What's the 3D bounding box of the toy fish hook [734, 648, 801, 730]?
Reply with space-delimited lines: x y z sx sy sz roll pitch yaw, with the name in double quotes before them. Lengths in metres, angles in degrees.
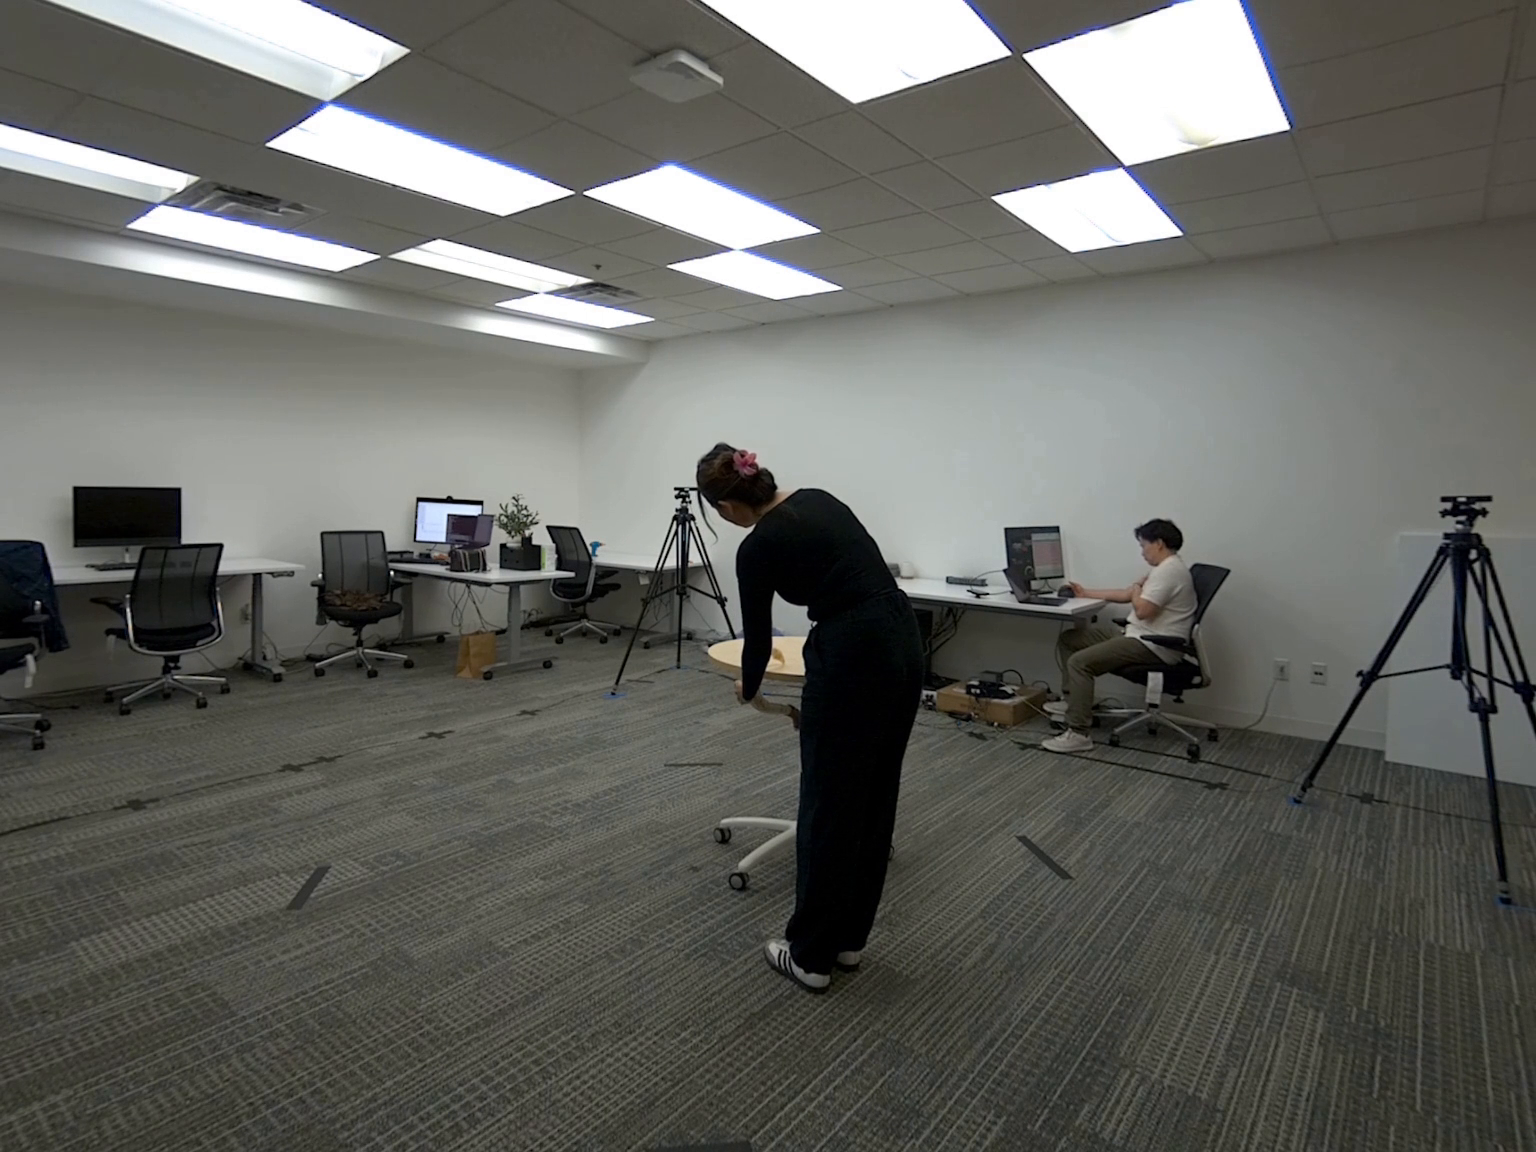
"toy fish hook" 0.052 0.402 2.946 0.050 0.227 0.485 3 -25 33
